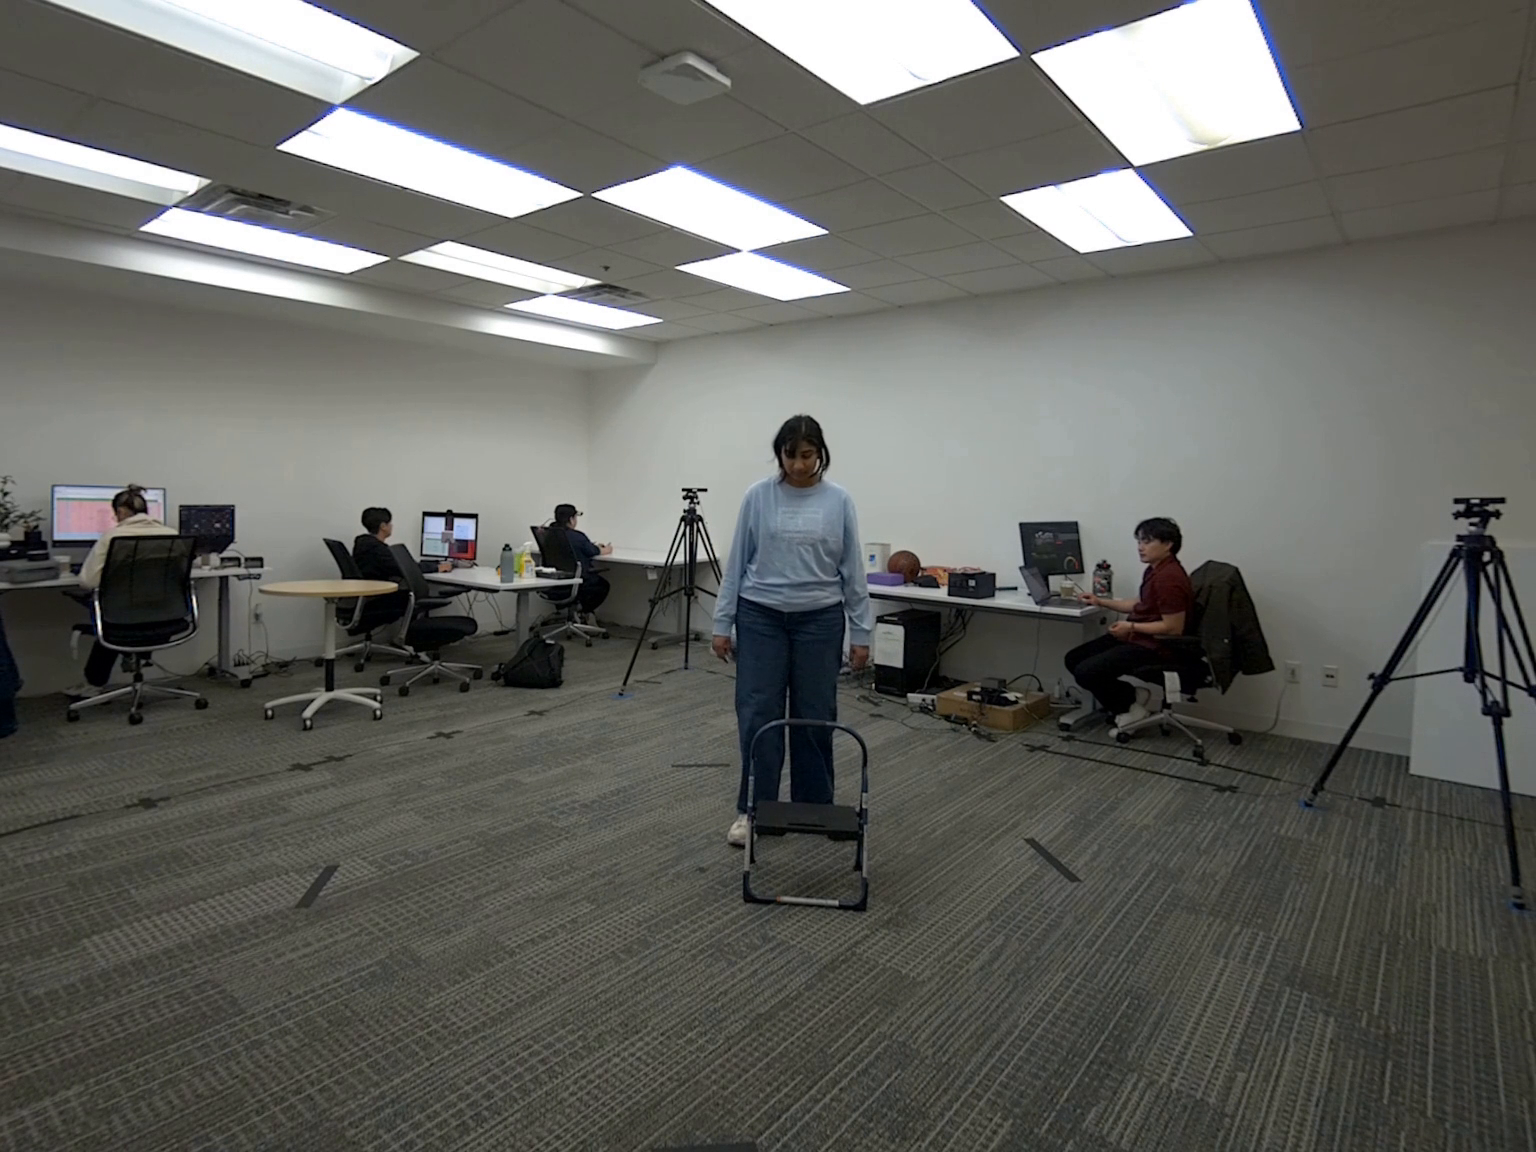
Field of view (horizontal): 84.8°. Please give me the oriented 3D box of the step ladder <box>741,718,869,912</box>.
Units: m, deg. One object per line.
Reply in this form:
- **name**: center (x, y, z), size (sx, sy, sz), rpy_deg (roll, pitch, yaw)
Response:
- **step ladder**: center (0.131, 0.786, 2.994), size (0.433, 0.605, 0.348), rpy_deg (1, 3, 4)
